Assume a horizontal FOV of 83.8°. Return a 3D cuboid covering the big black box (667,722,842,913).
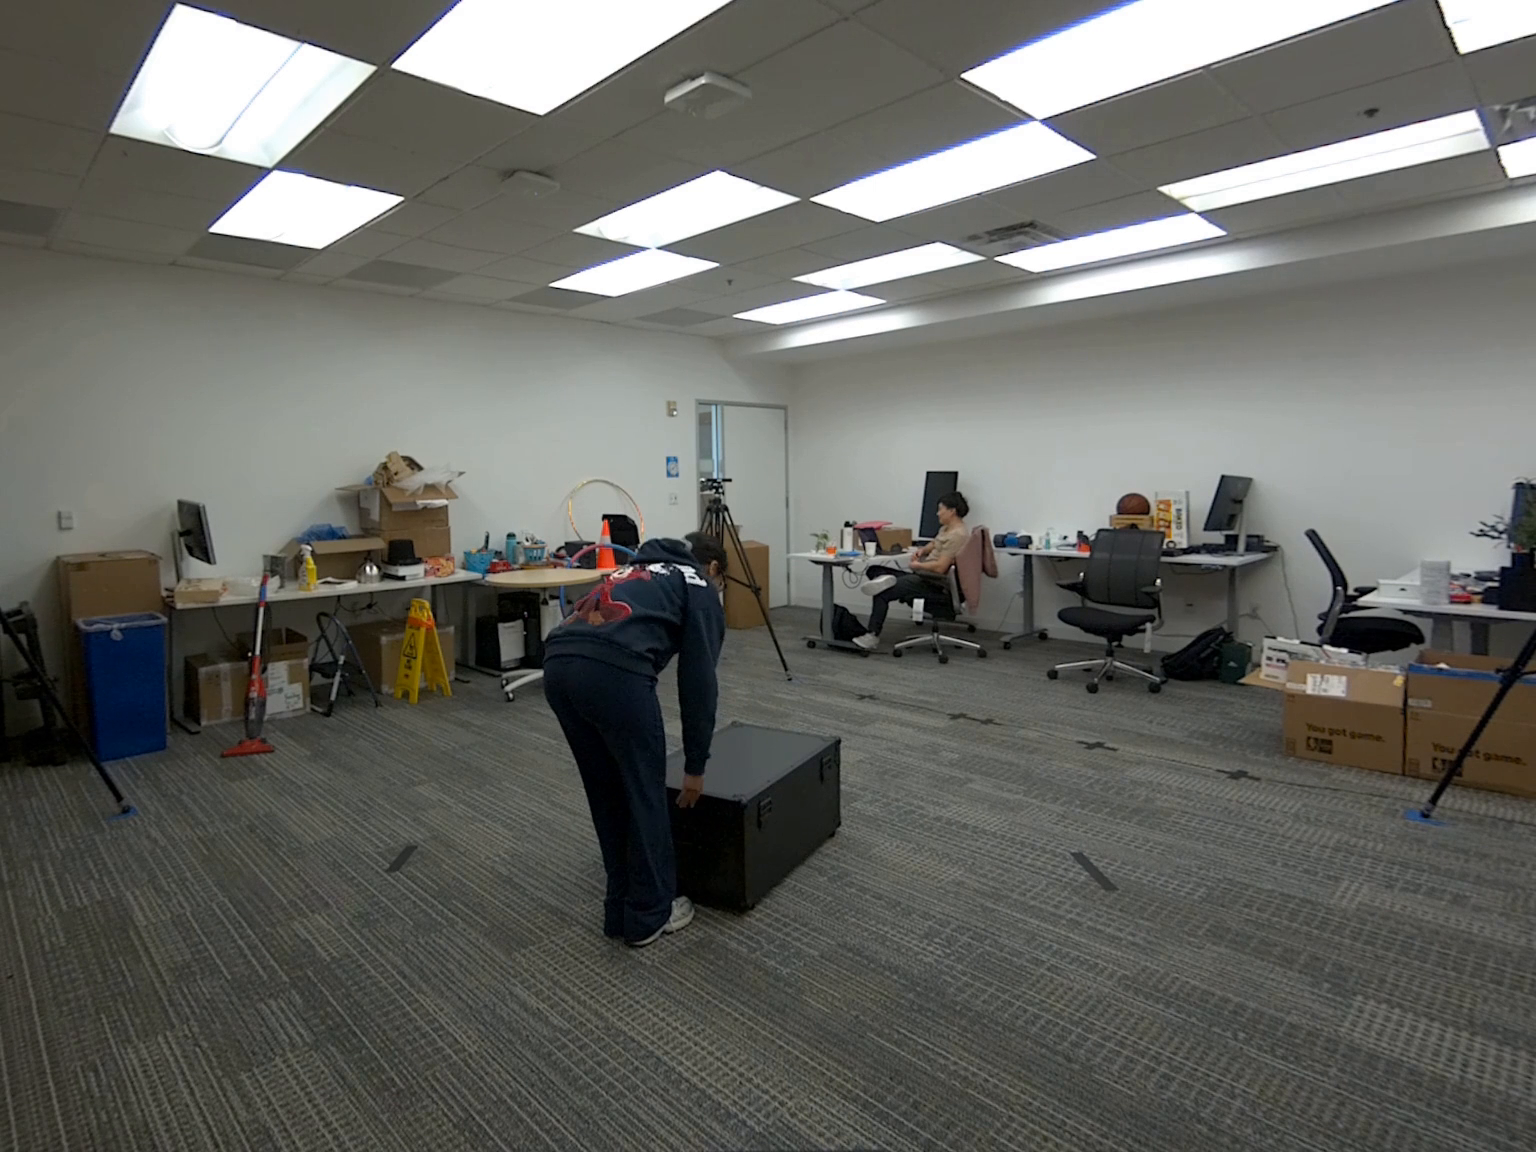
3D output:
[{"bbox_3d":[-0.082,0.844,3.183,0.534,0.394,0.844,2,7,28],"label":"big black box"}]
